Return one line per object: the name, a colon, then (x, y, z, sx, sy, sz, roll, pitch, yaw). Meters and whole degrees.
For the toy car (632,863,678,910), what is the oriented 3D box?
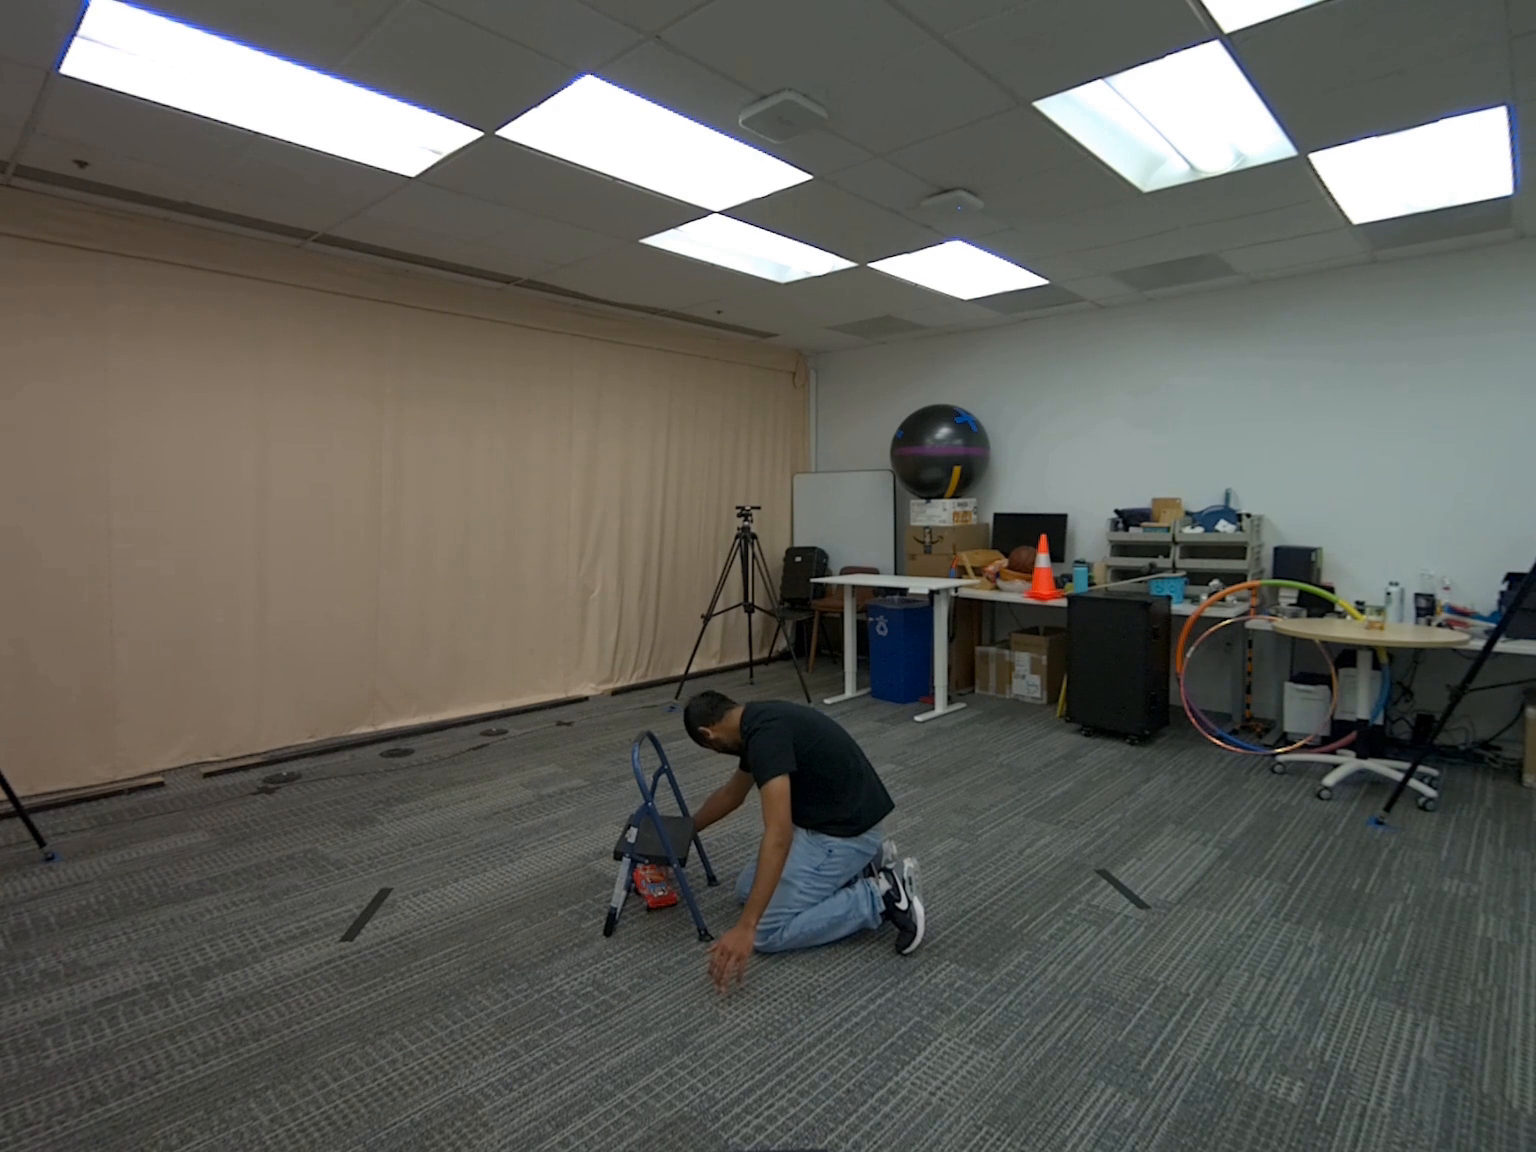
toy car: (-0.416, 1.115, 3.007, 0.127, 0.082, 0.262, -2, 15, -22)
